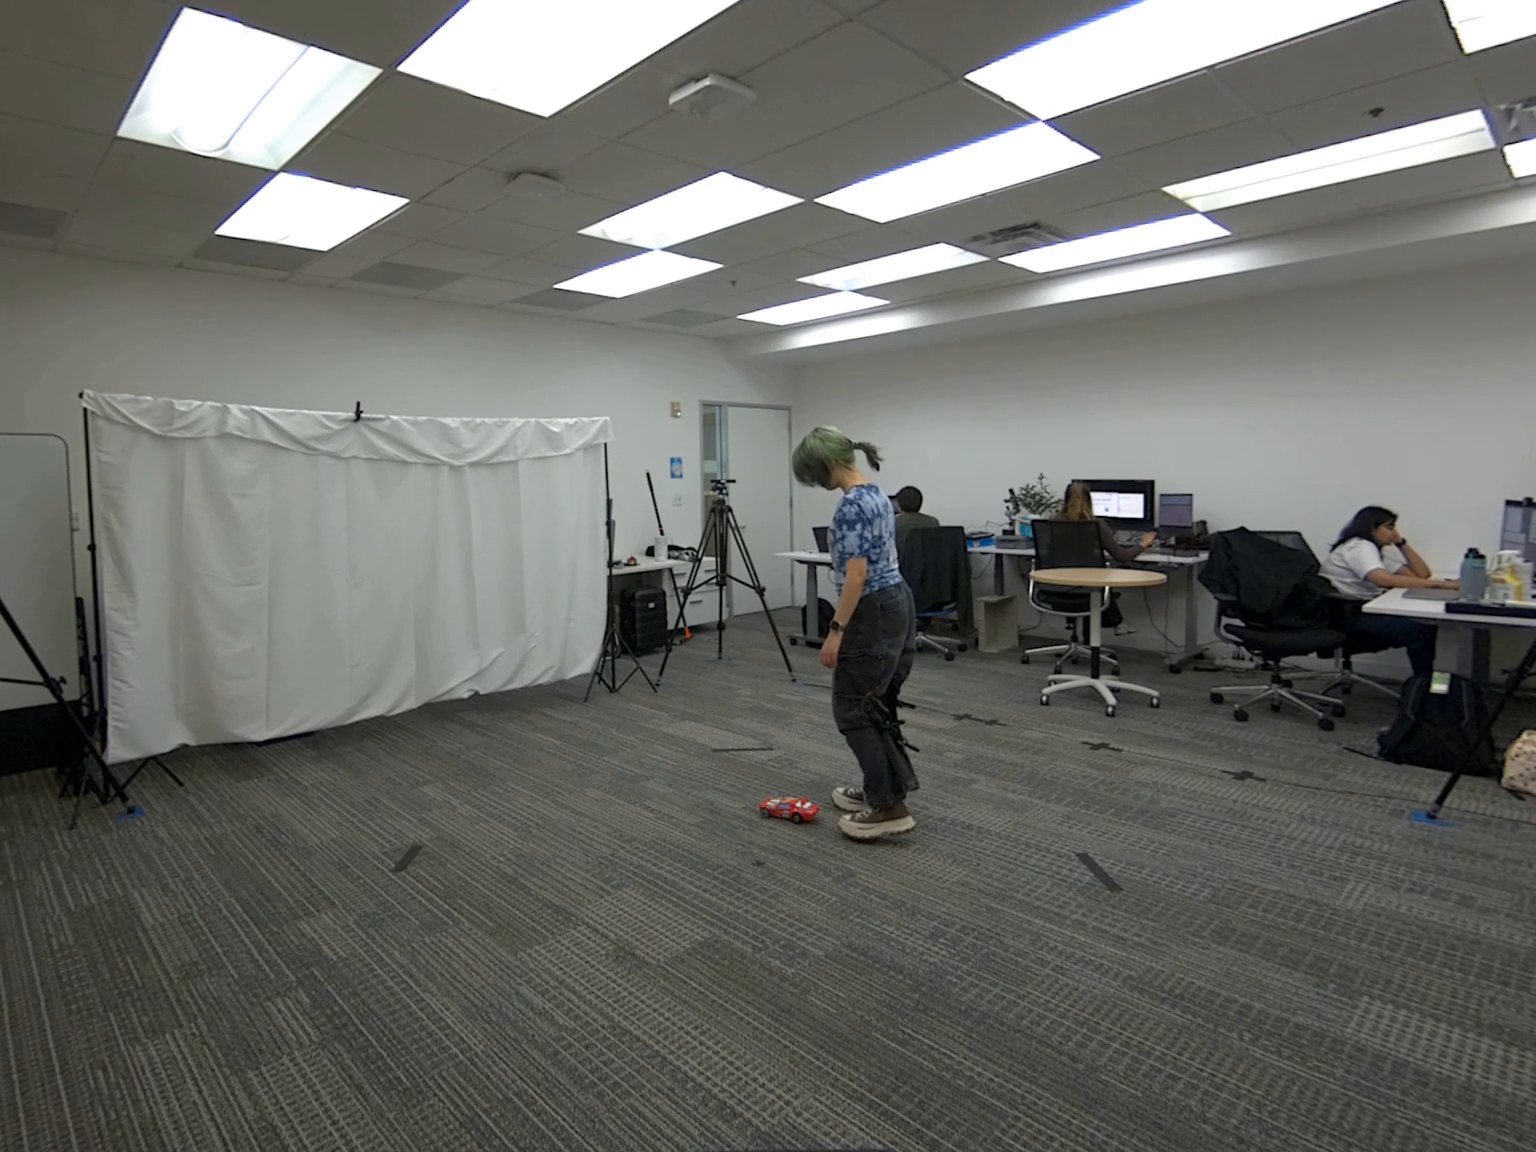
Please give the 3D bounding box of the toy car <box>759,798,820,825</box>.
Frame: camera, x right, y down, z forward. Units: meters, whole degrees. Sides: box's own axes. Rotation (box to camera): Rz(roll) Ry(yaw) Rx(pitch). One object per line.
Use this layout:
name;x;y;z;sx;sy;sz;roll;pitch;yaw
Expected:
toy car;0.097;0.964;3.529;0.260;0.083;0.128;-9;1;28
